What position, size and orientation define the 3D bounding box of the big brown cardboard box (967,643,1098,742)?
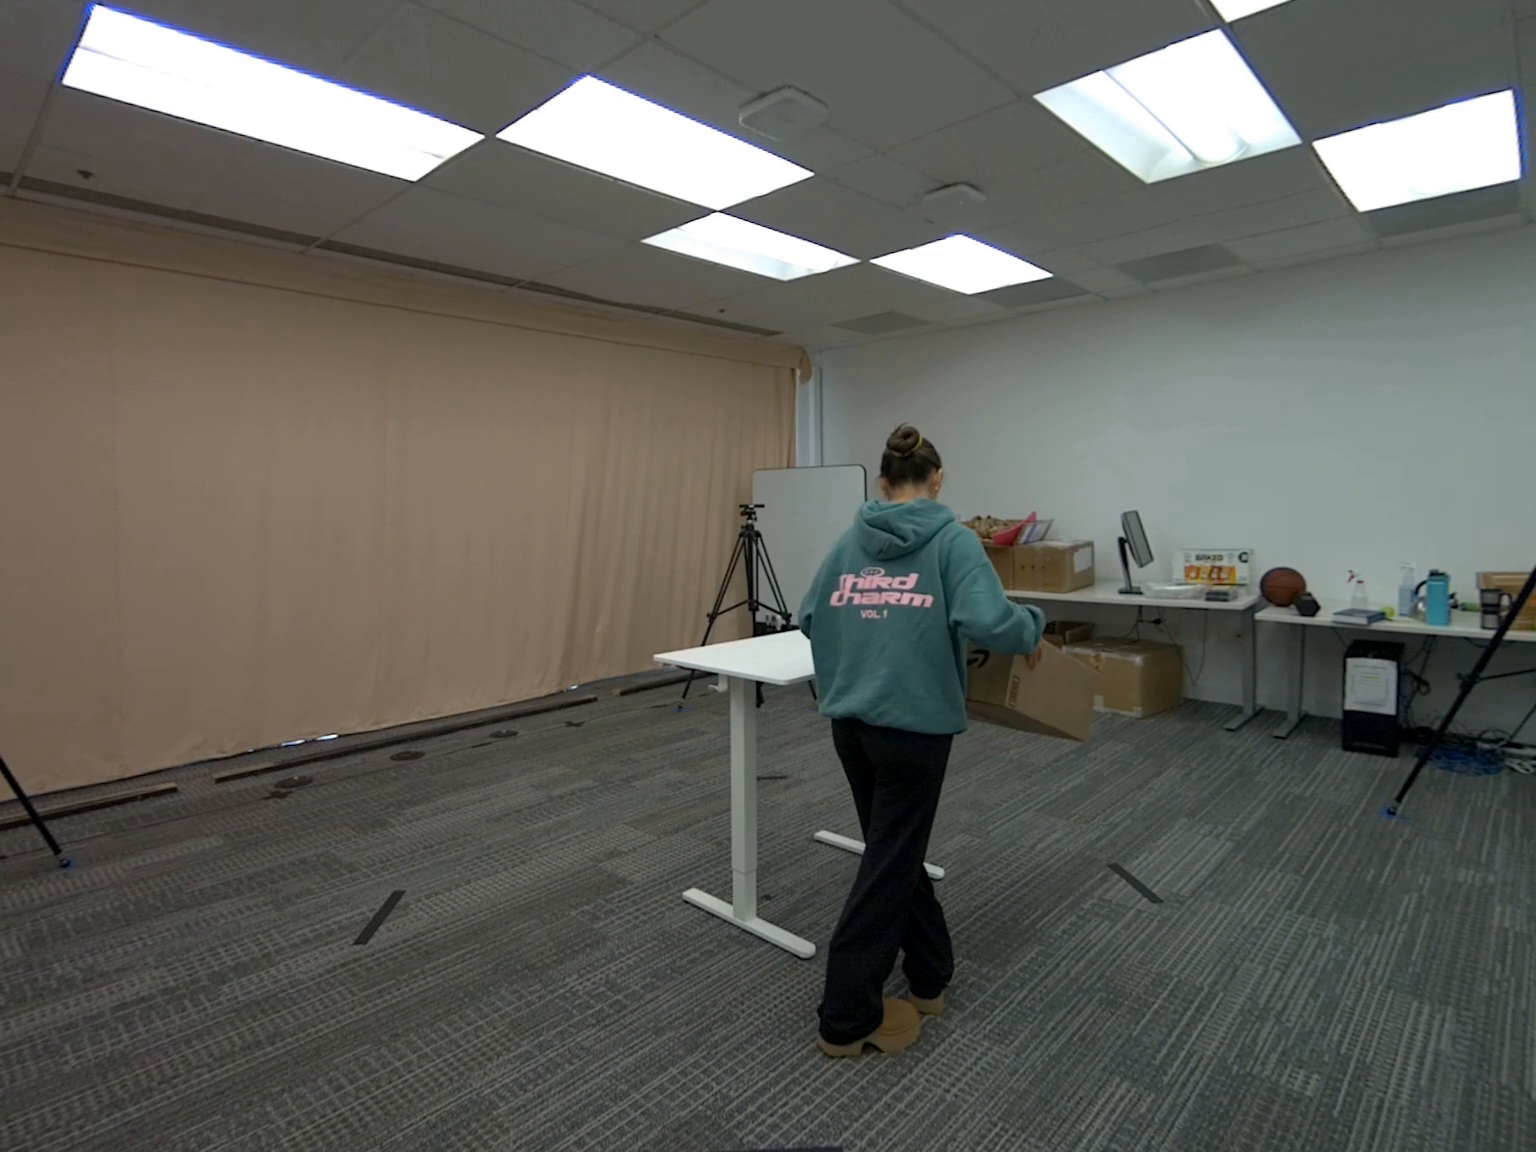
[{"bbox_3d":[0.663,0.300,2.492,0.432,0.234,0.567,6,-13,44],"label":"big brown cardboard box"}]
